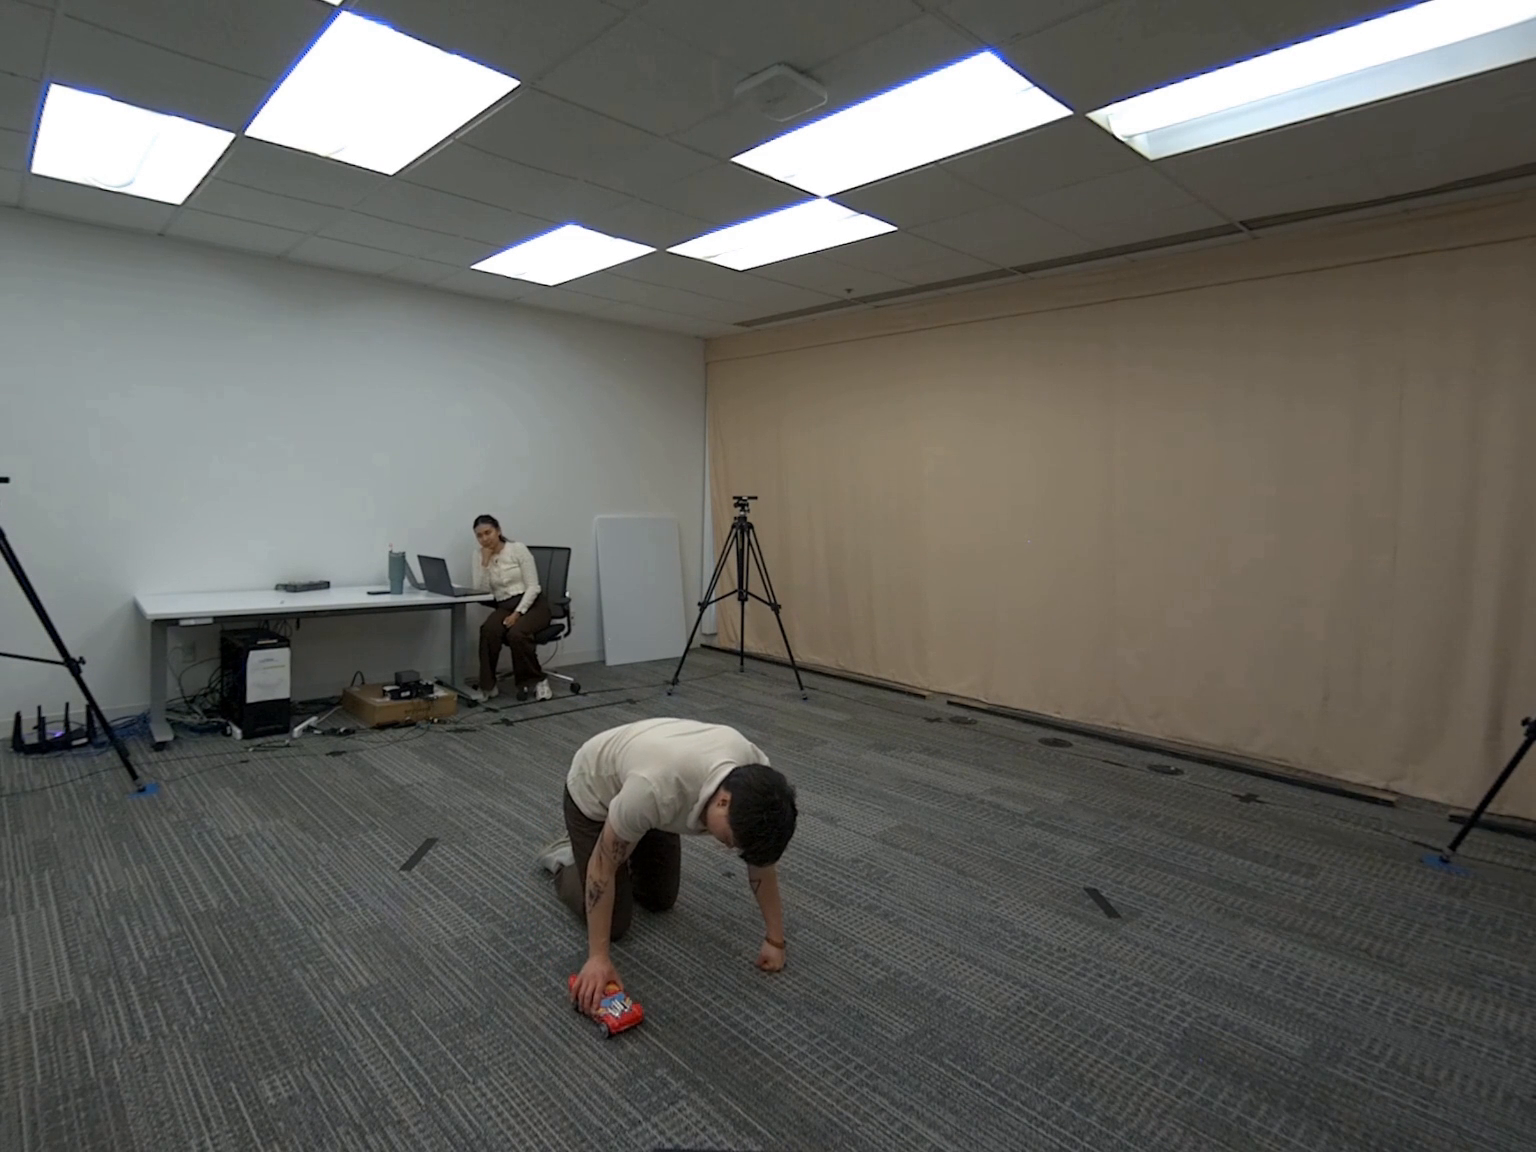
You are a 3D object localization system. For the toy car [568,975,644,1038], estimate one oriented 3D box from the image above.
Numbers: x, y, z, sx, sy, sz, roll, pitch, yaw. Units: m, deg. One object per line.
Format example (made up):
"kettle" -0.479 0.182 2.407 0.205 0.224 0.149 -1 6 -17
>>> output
"toy car" -0.452 1.149 2.252 0.127 0.082 0.262 -5 17 -40
